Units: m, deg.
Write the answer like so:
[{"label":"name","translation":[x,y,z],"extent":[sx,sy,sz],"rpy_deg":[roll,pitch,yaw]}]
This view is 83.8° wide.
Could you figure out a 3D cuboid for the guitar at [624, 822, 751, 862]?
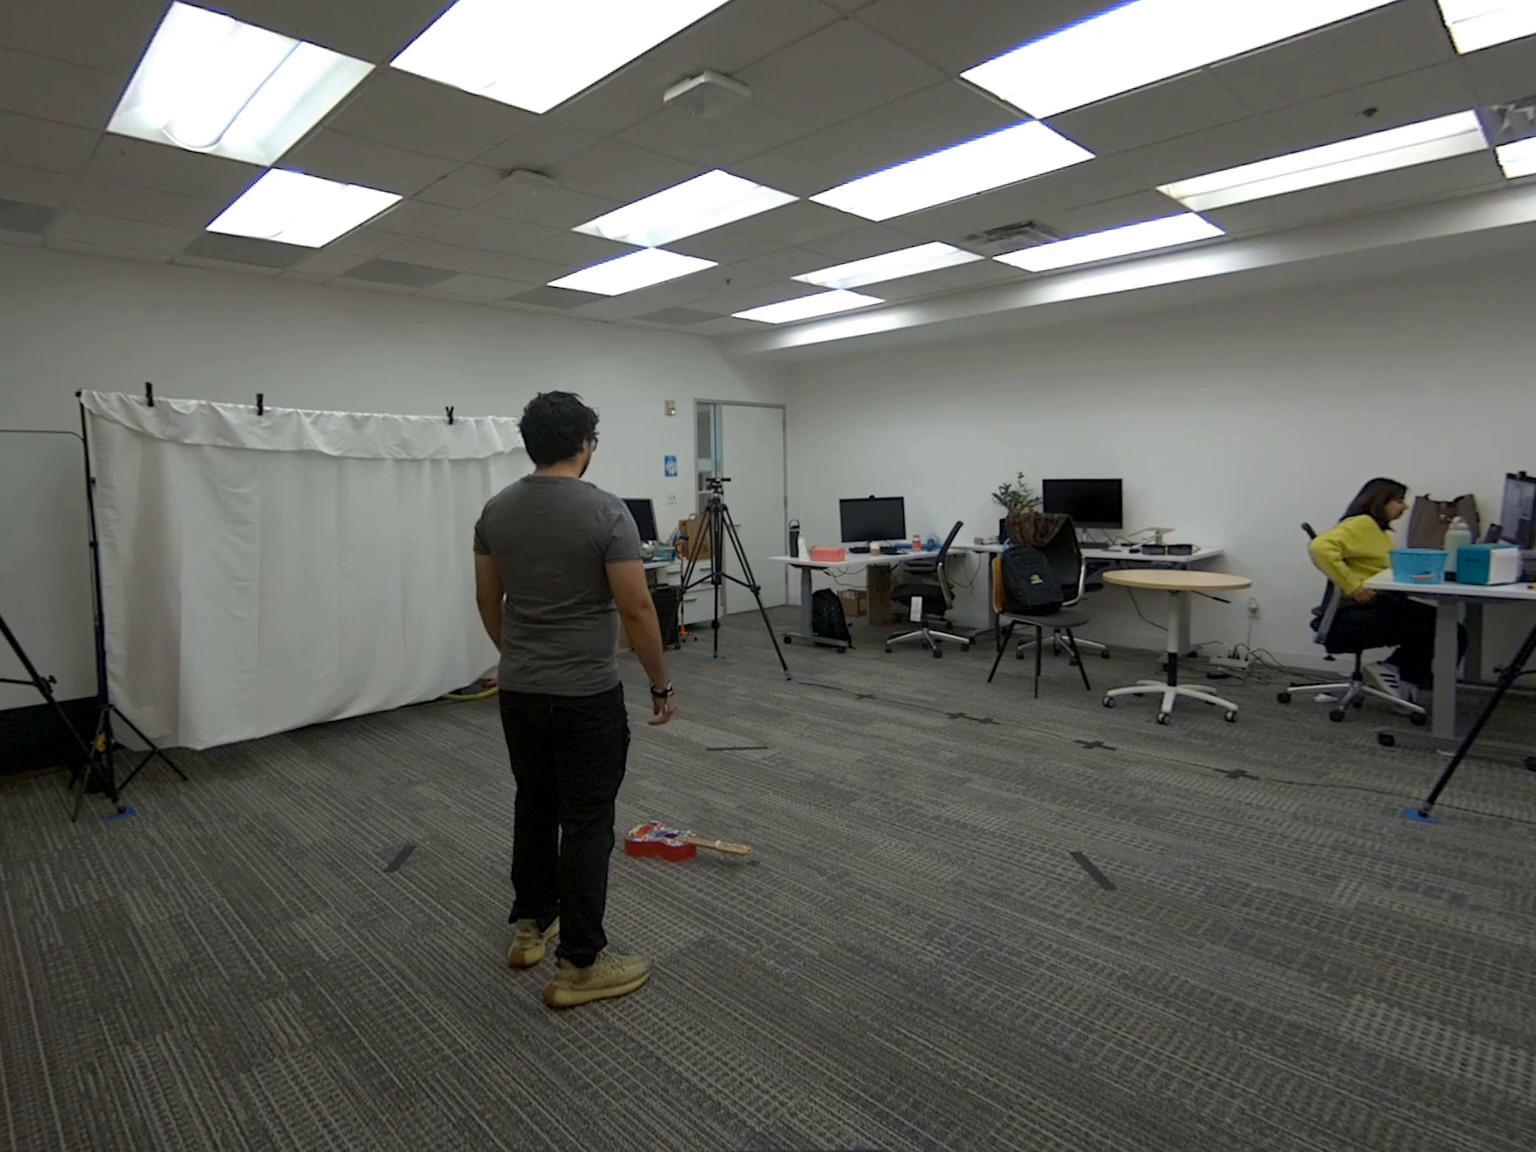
[{"label":"guitar","translation":[-0.309,1.007,3.155],"extent":[0.512,0.070,0.188],"rpy_deg":[3,7,34]}]
